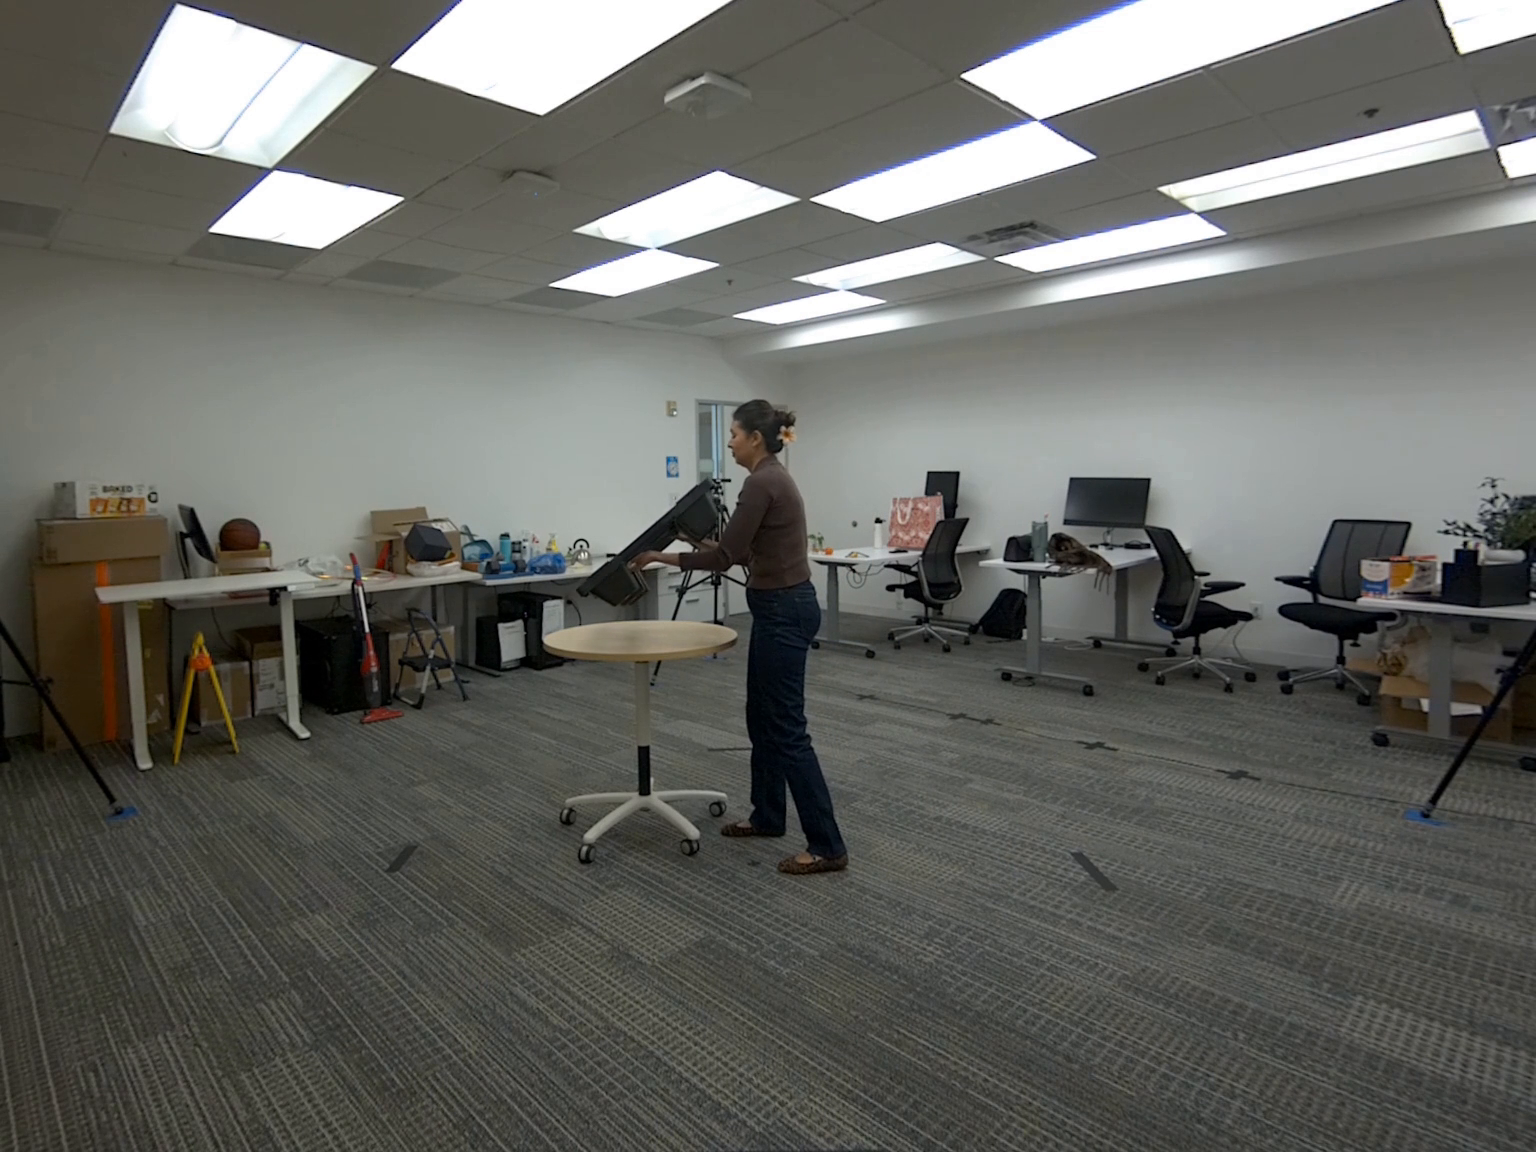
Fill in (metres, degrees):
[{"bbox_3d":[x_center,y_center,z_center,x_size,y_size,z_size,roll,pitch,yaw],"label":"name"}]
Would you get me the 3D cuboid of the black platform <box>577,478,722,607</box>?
[{"bbox_3d":[-0.412,-0.083,3.282,0.605,0.143,0.805,-43,2,-5],"label":"black platform"}]
